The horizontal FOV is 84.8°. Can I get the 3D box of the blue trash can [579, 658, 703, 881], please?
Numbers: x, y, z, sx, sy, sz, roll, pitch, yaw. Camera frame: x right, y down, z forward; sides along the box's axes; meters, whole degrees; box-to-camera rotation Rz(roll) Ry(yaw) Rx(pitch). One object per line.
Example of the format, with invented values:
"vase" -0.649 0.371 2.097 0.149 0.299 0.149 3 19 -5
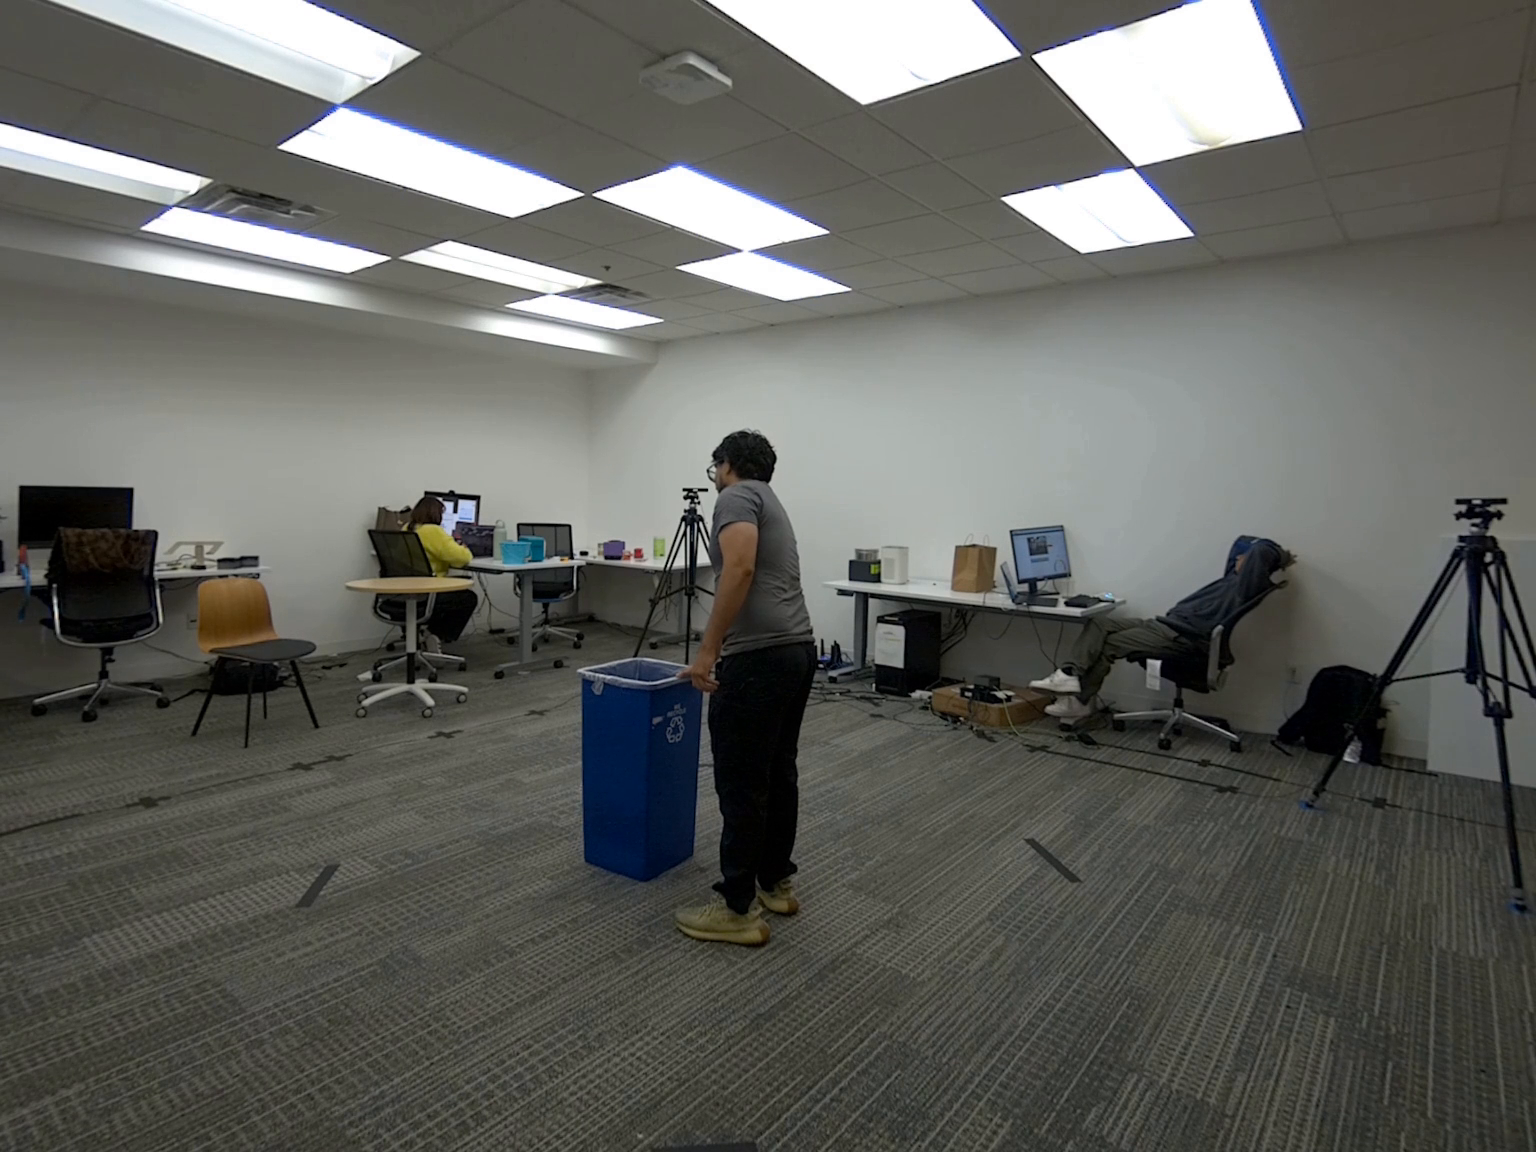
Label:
"blue trash can" -0.484 0.698 3.190 0.390 0.712 0.364 3 4 33
